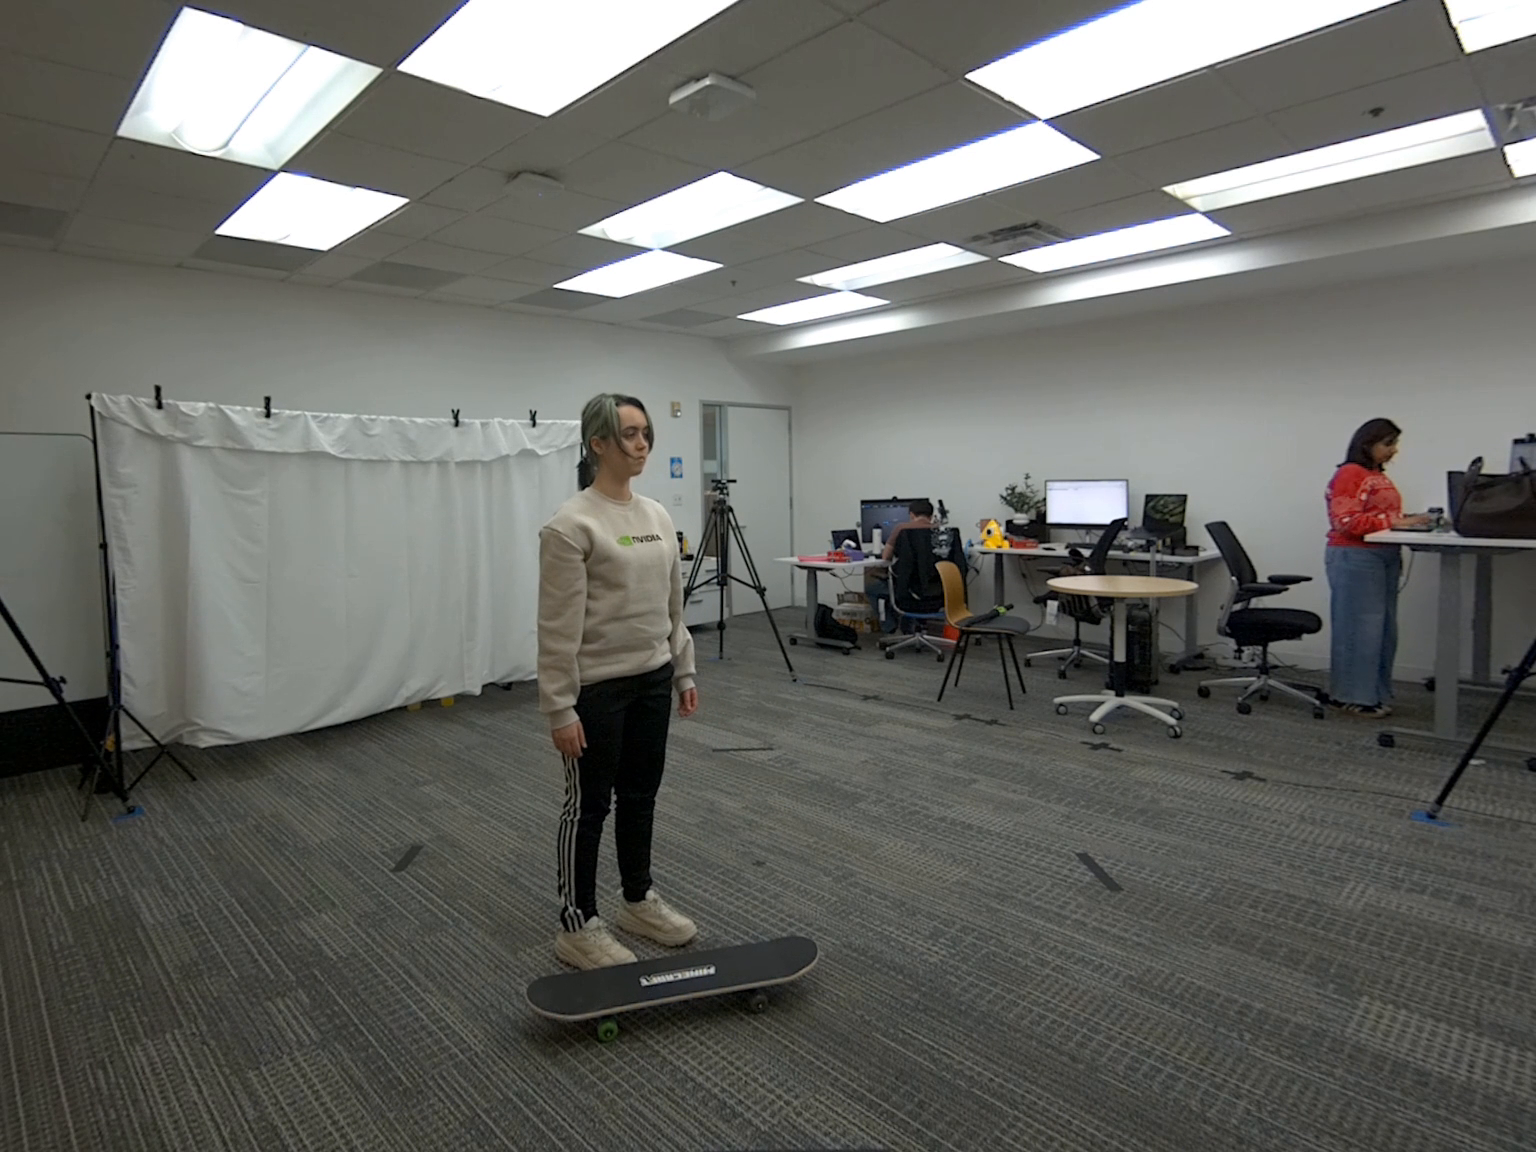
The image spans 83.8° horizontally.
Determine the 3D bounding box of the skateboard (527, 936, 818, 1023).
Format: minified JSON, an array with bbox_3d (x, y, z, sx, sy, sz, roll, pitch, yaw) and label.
[{"bbox_3d":[-0.231,1.092,2.269,0.775,0.110,0.197,-3,6,-14],"label":"skateboard"}]
